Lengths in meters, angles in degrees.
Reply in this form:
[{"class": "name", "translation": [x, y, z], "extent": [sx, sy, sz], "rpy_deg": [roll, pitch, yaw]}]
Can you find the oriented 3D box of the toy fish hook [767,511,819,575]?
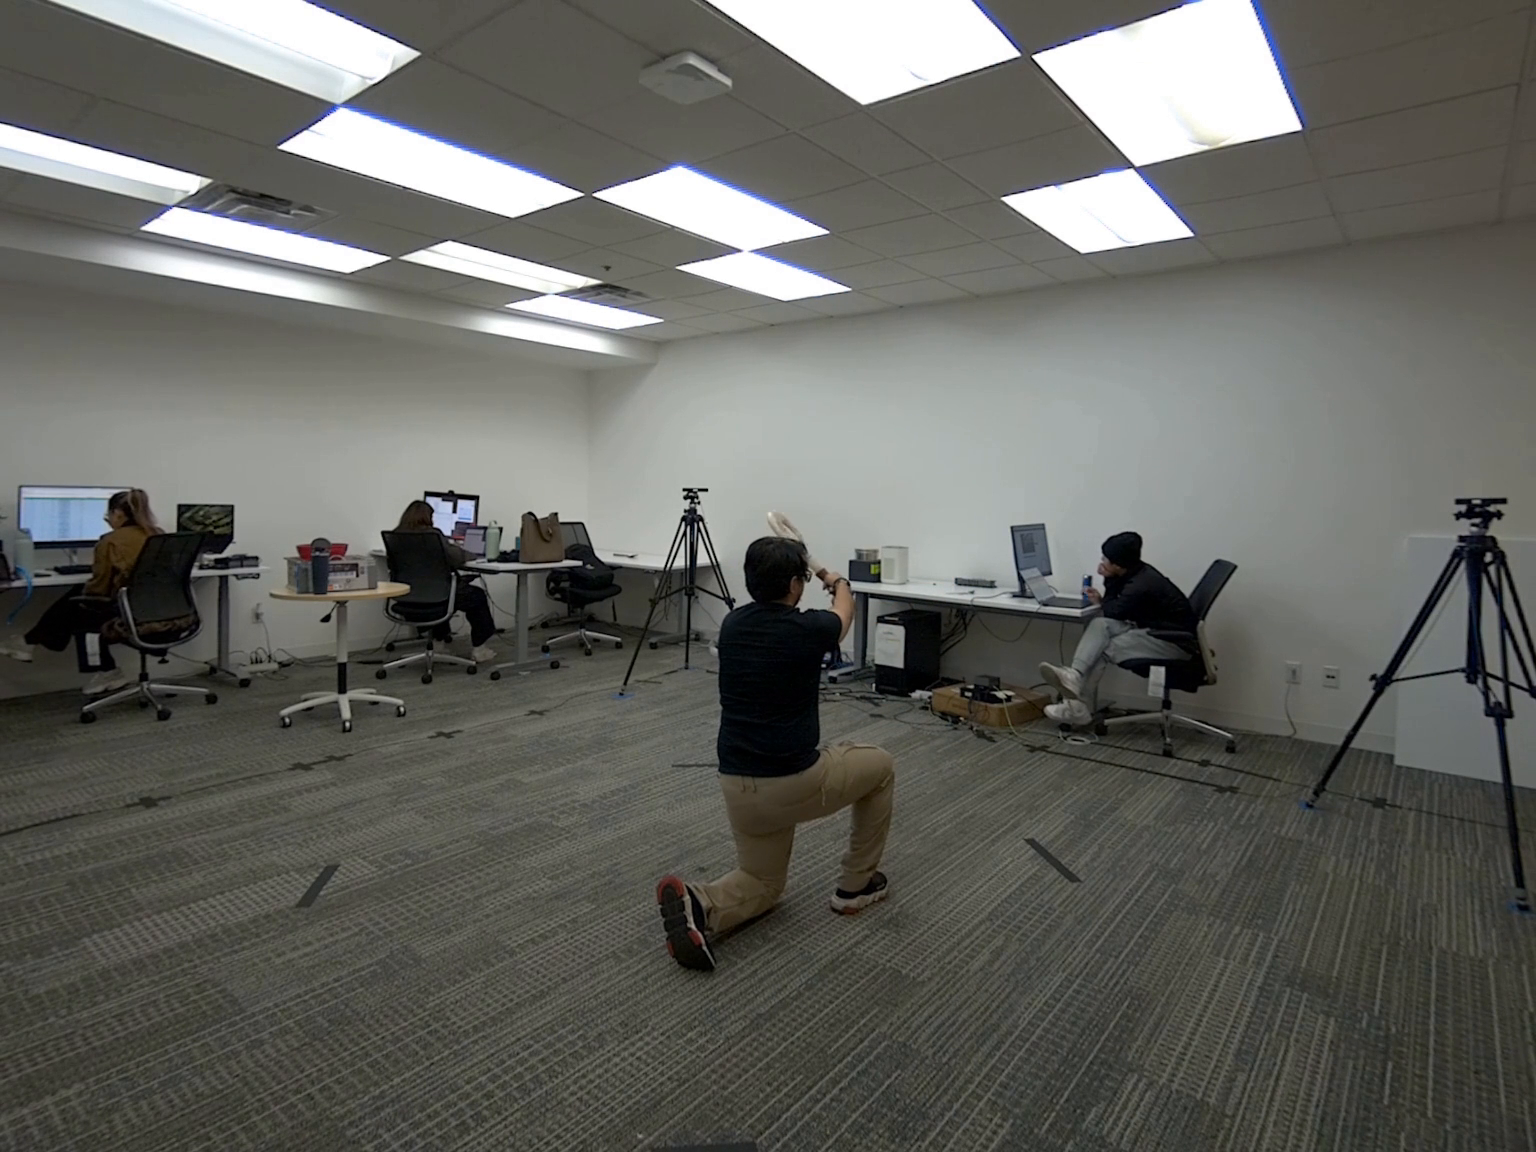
[{"class": "toy fish hook", "translation": [0.176, -0.054, 3.379], "extent": [0.048, 0.513, 0.221], "rpy_deg": [-42, -9, 21]}]
